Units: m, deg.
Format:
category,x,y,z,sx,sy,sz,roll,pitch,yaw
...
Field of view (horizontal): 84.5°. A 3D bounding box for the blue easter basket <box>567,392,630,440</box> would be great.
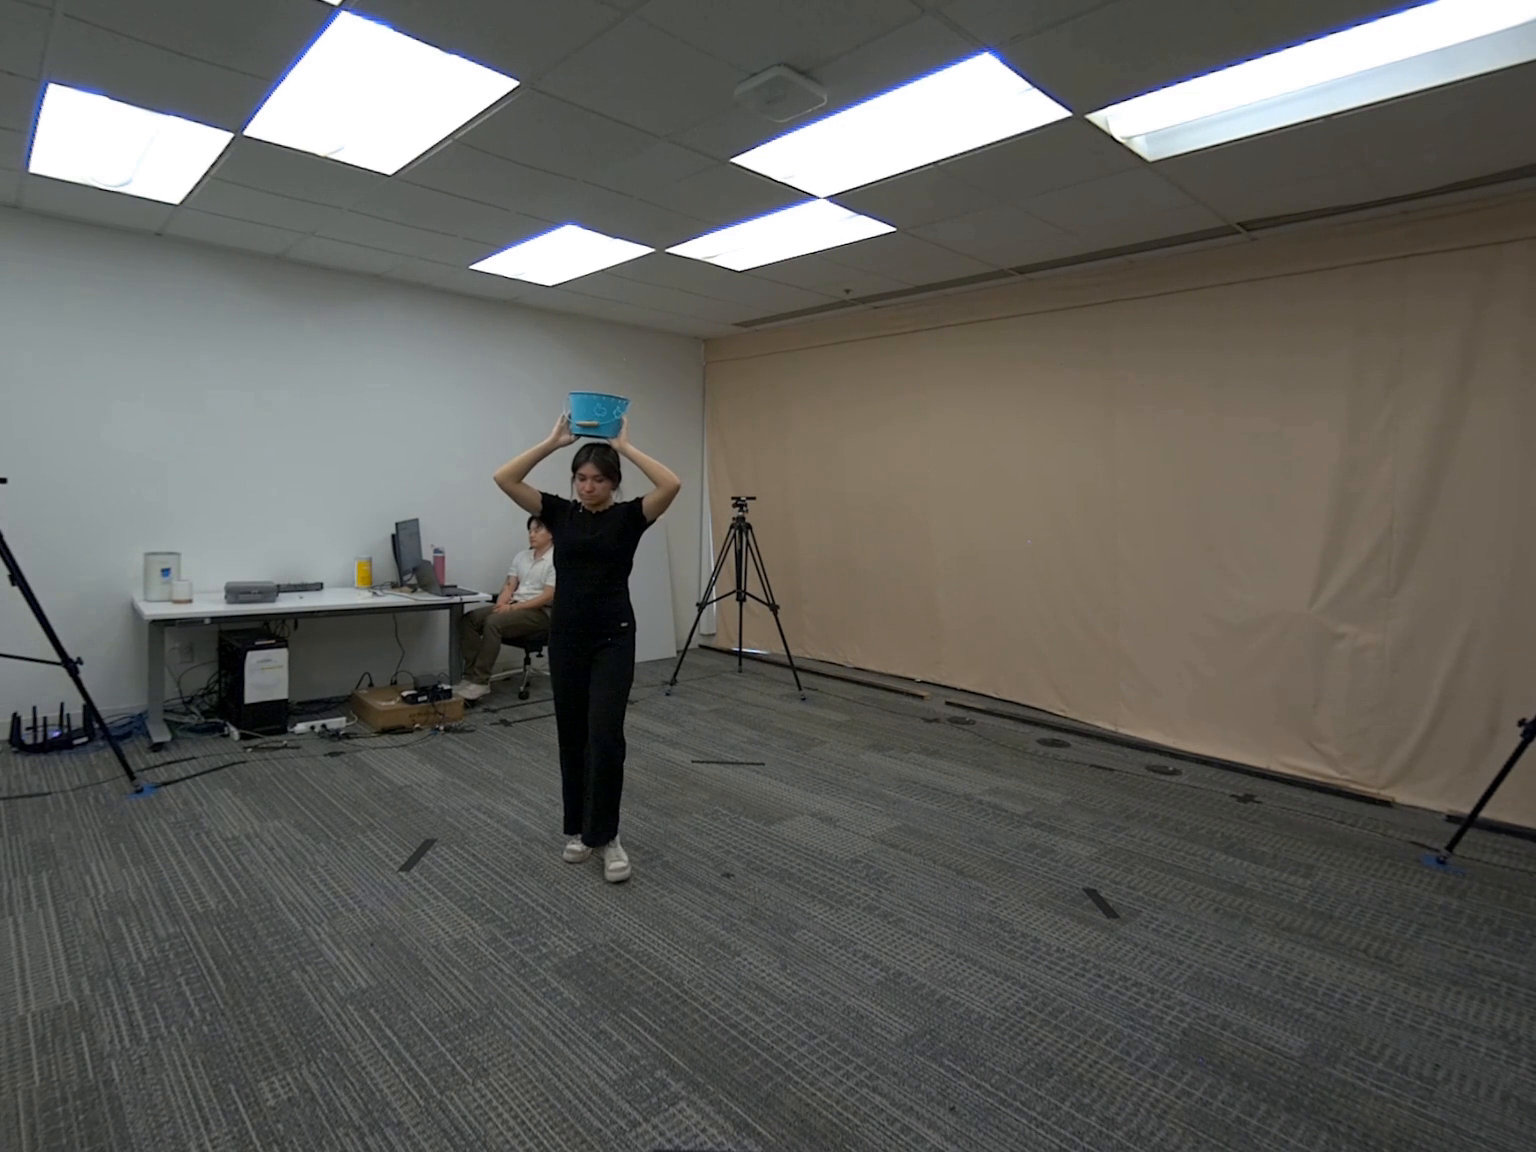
category,x,y,z,sx,sy,sz,roll,pitch,yaw
blue easter basket,-0.667,-0.603,3.181,0.243,0.156,0.244,5,1,-1
